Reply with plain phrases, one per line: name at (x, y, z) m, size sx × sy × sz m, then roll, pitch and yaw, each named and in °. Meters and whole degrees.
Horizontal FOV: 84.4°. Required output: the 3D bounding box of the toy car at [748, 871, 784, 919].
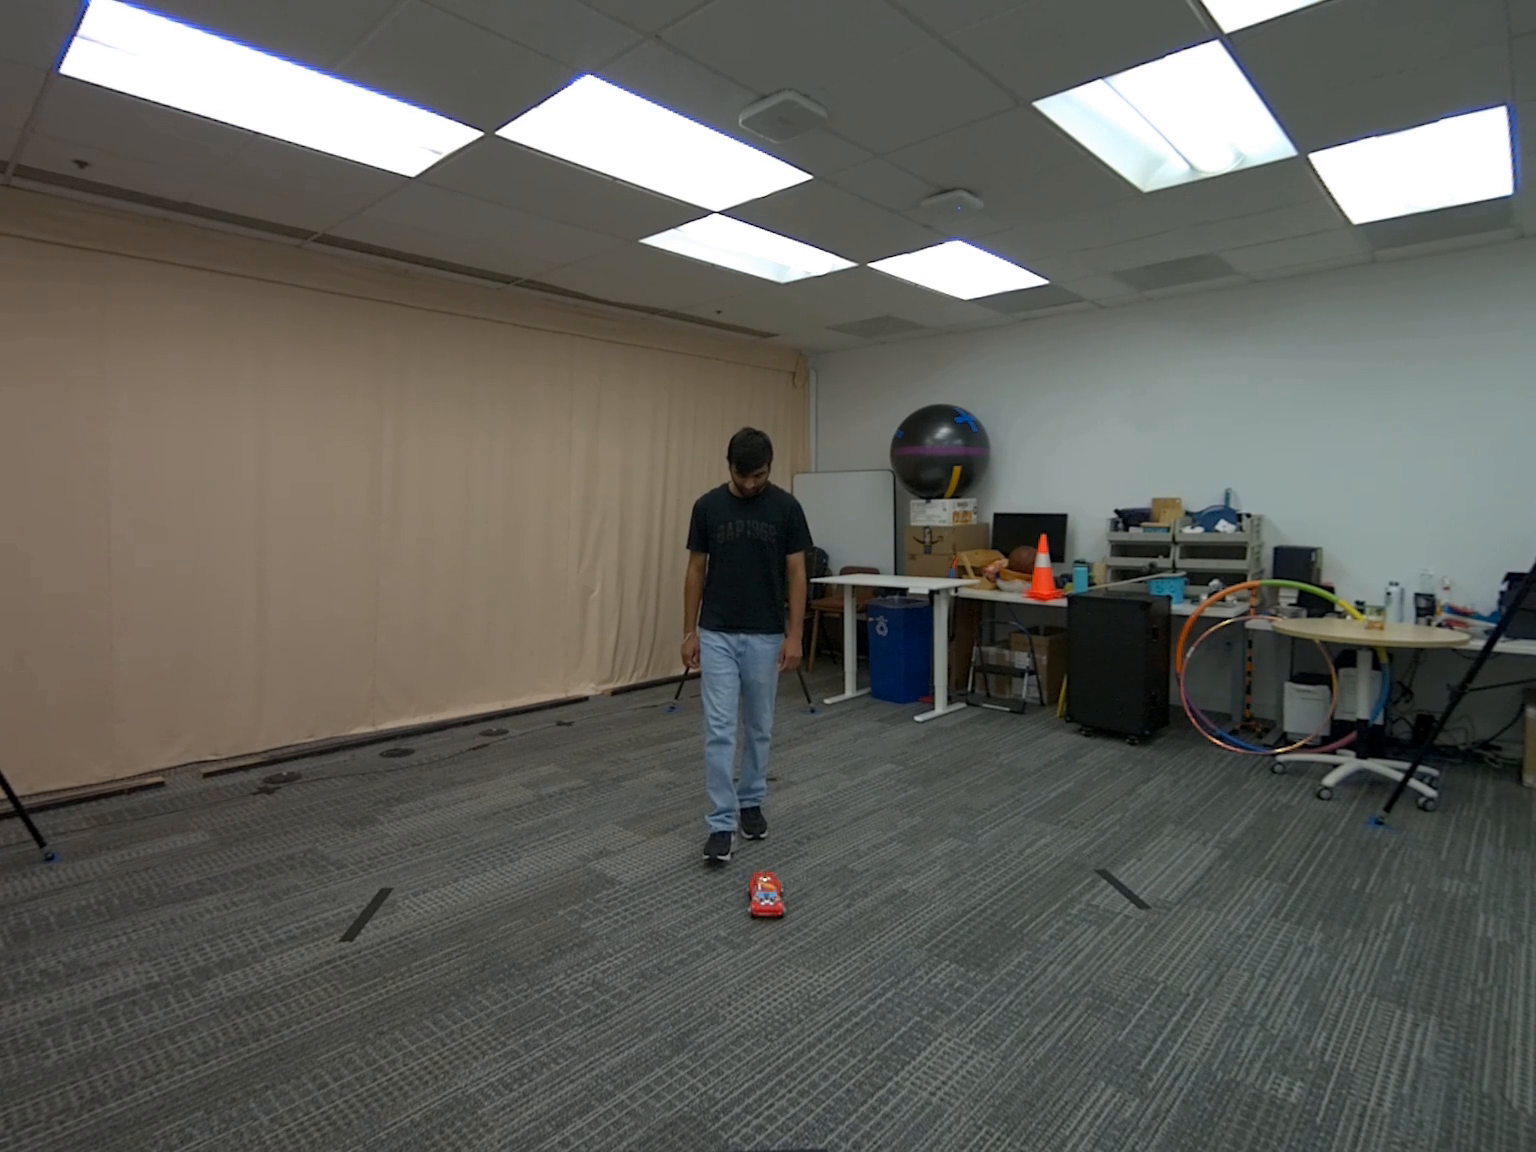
toy car at (-0.011, 1.110, 2.945) m, size 0.130 × 0.082 × 0.257 m, roll 0°, pitch 16°, yaw -1°
